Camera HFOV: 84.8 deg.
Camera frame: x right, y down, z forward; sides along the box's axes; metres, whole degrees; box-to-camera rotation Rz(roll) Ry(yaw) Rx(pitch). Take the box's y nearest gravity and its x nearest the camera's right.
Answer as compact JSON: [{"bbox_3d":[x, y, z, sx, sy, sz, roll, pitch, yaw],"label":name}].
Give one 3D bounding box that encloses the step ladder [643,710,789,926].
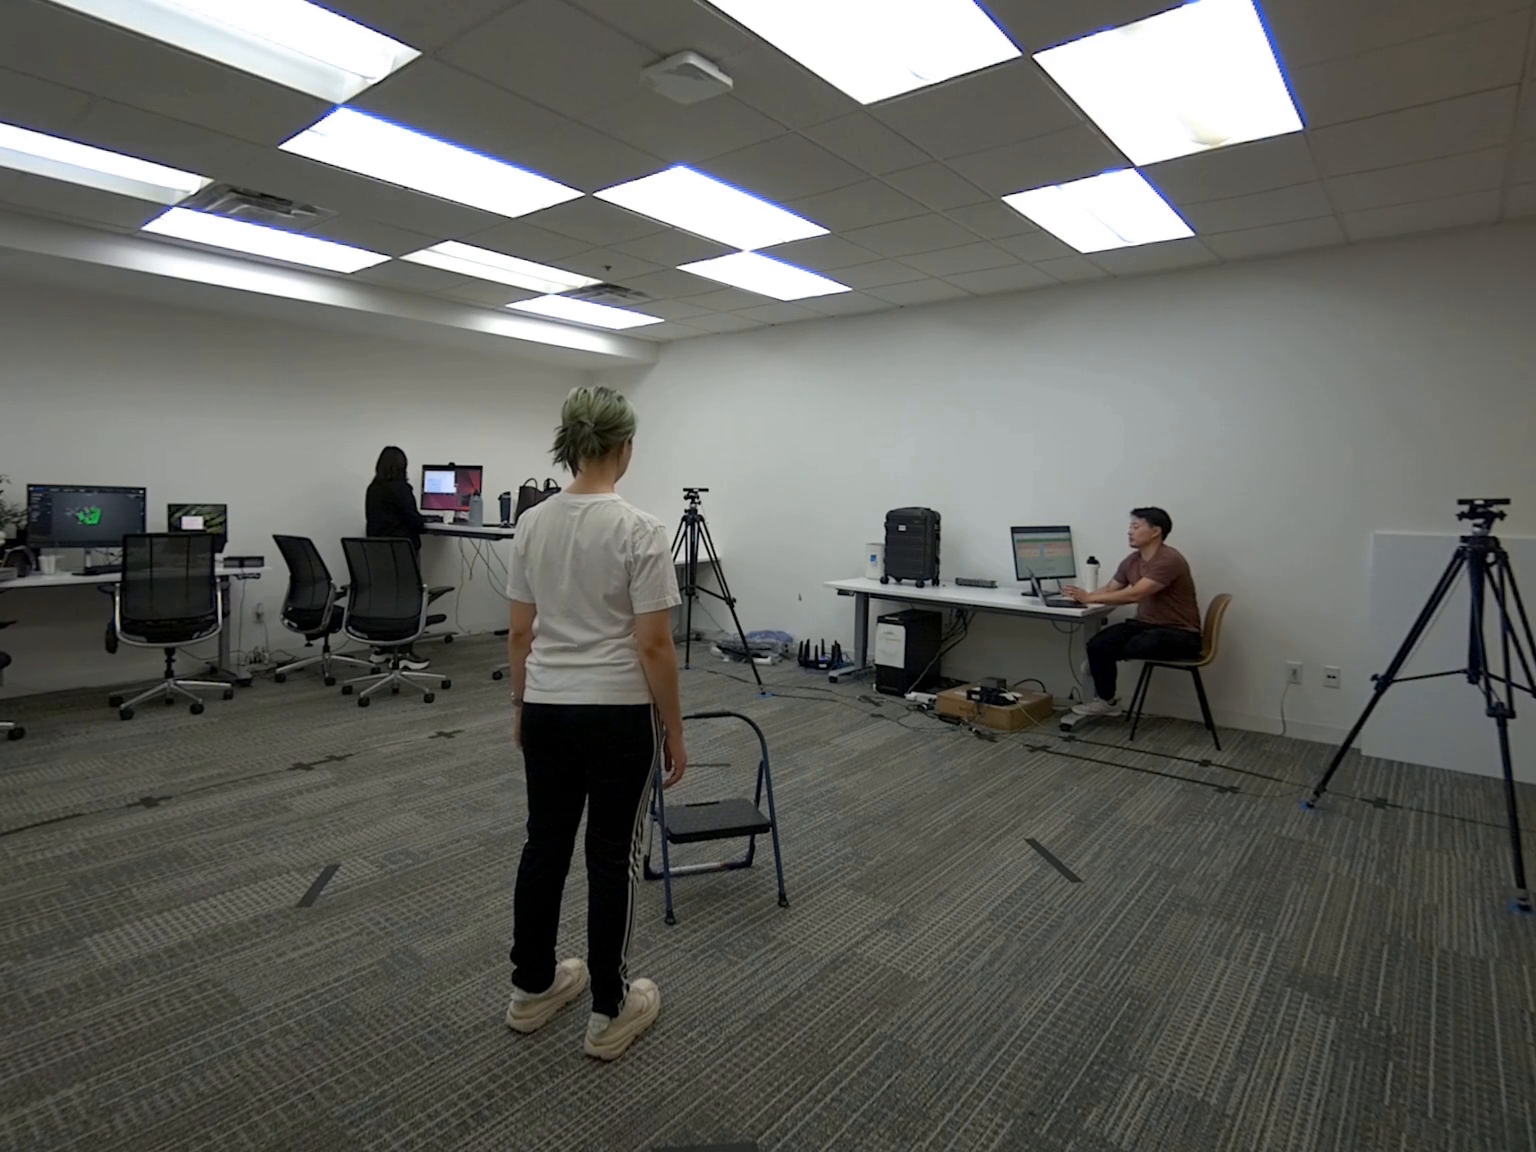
[{"bbox_3d":[-0.191,0.786,2.921,0.421,0.604,0.358,0,3,-22],"label":"step ladder"}]
